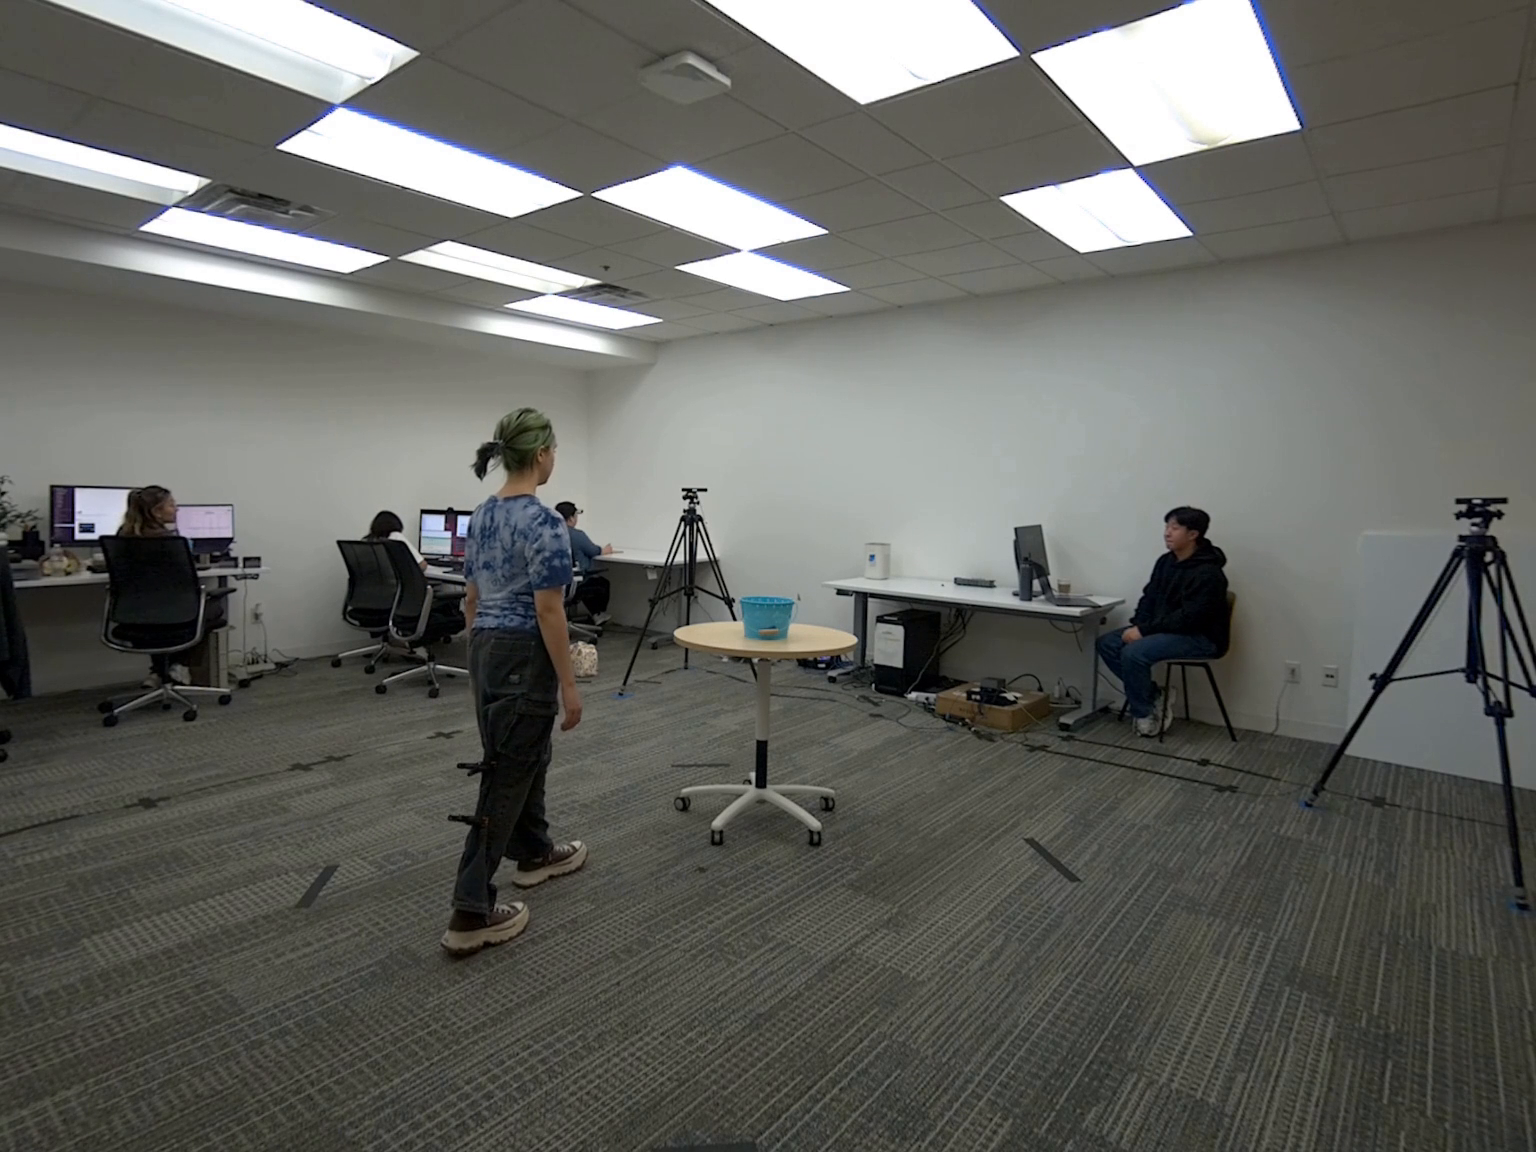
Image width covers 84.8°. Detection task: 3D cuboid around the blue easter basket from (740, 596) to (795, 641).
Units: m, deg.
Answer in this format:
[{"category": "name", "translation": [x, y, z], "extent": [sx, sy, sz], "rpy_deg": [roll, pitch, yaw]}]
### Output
[{"category": "blue easter basket", "translation": [-0.018, 0.173, 3.532], "extent": [0.243, 0.155, 0.244], "rpy_deg": [1, 4, -2]}]
